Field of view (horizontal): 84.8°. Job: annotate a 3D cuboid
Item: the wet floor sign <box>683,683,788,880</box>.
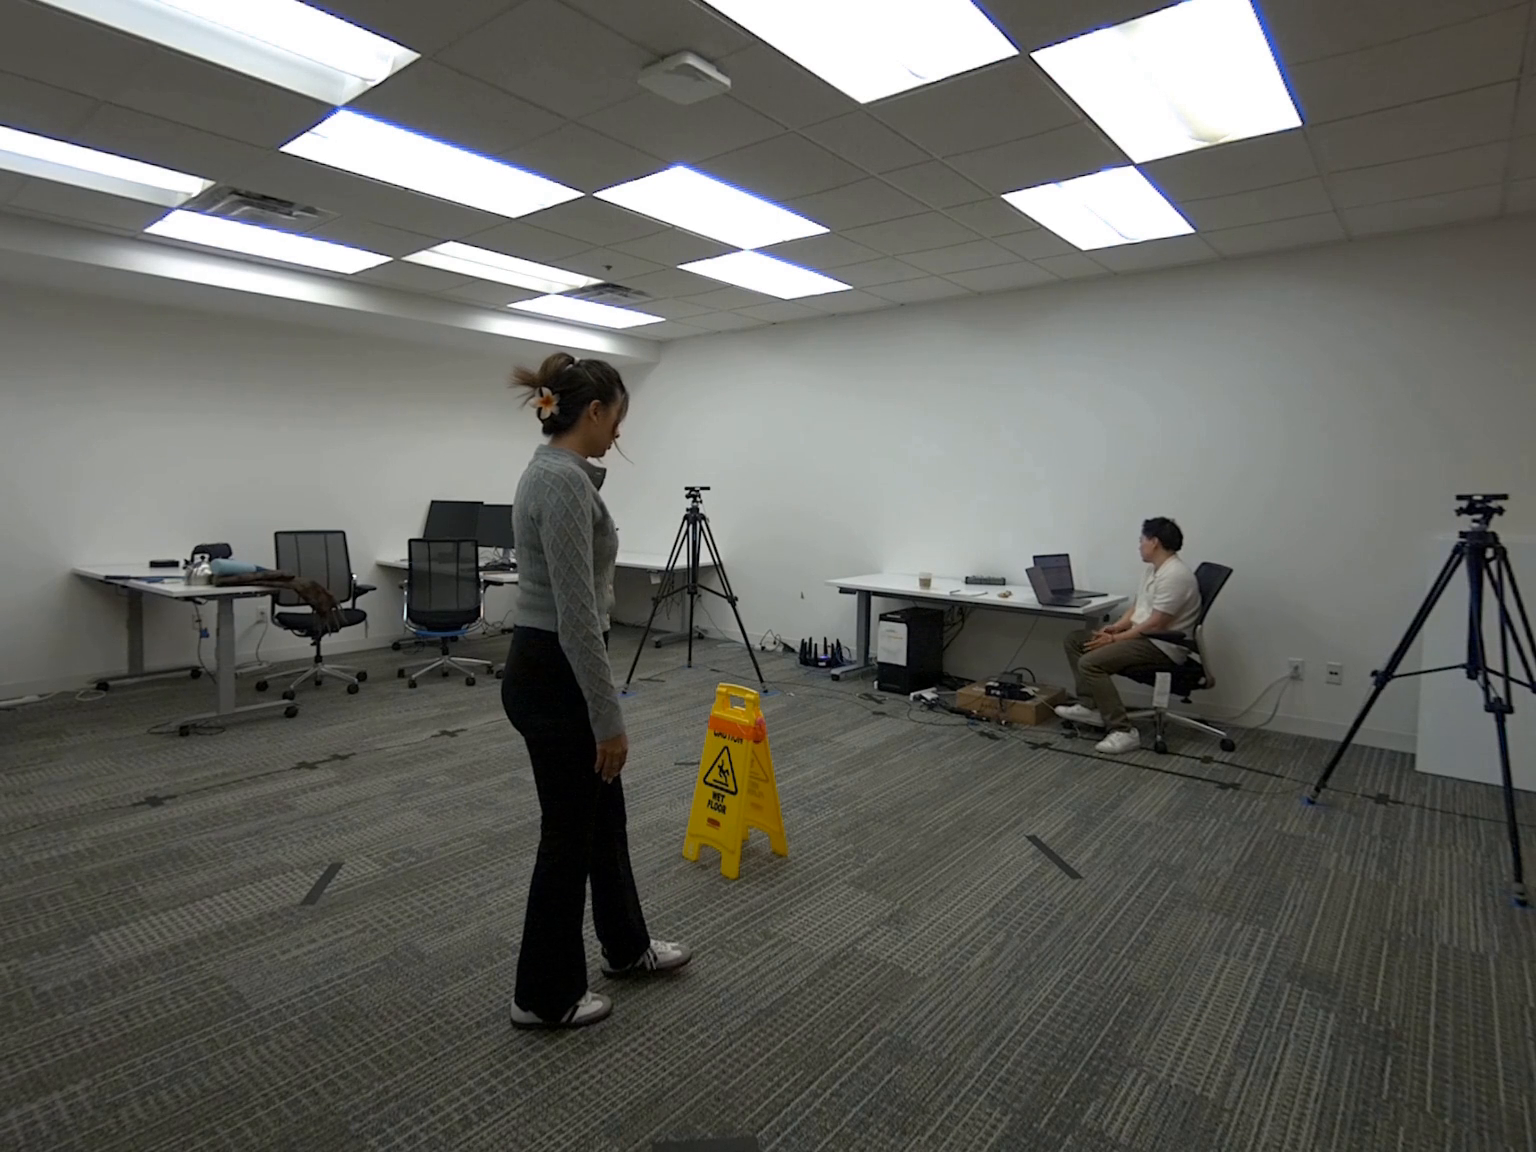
[{"bbox_3d":[-0.127,0.734,3.201,0.292,0.644,0.281,4,4,43],"label":"wet floor sign"}]
